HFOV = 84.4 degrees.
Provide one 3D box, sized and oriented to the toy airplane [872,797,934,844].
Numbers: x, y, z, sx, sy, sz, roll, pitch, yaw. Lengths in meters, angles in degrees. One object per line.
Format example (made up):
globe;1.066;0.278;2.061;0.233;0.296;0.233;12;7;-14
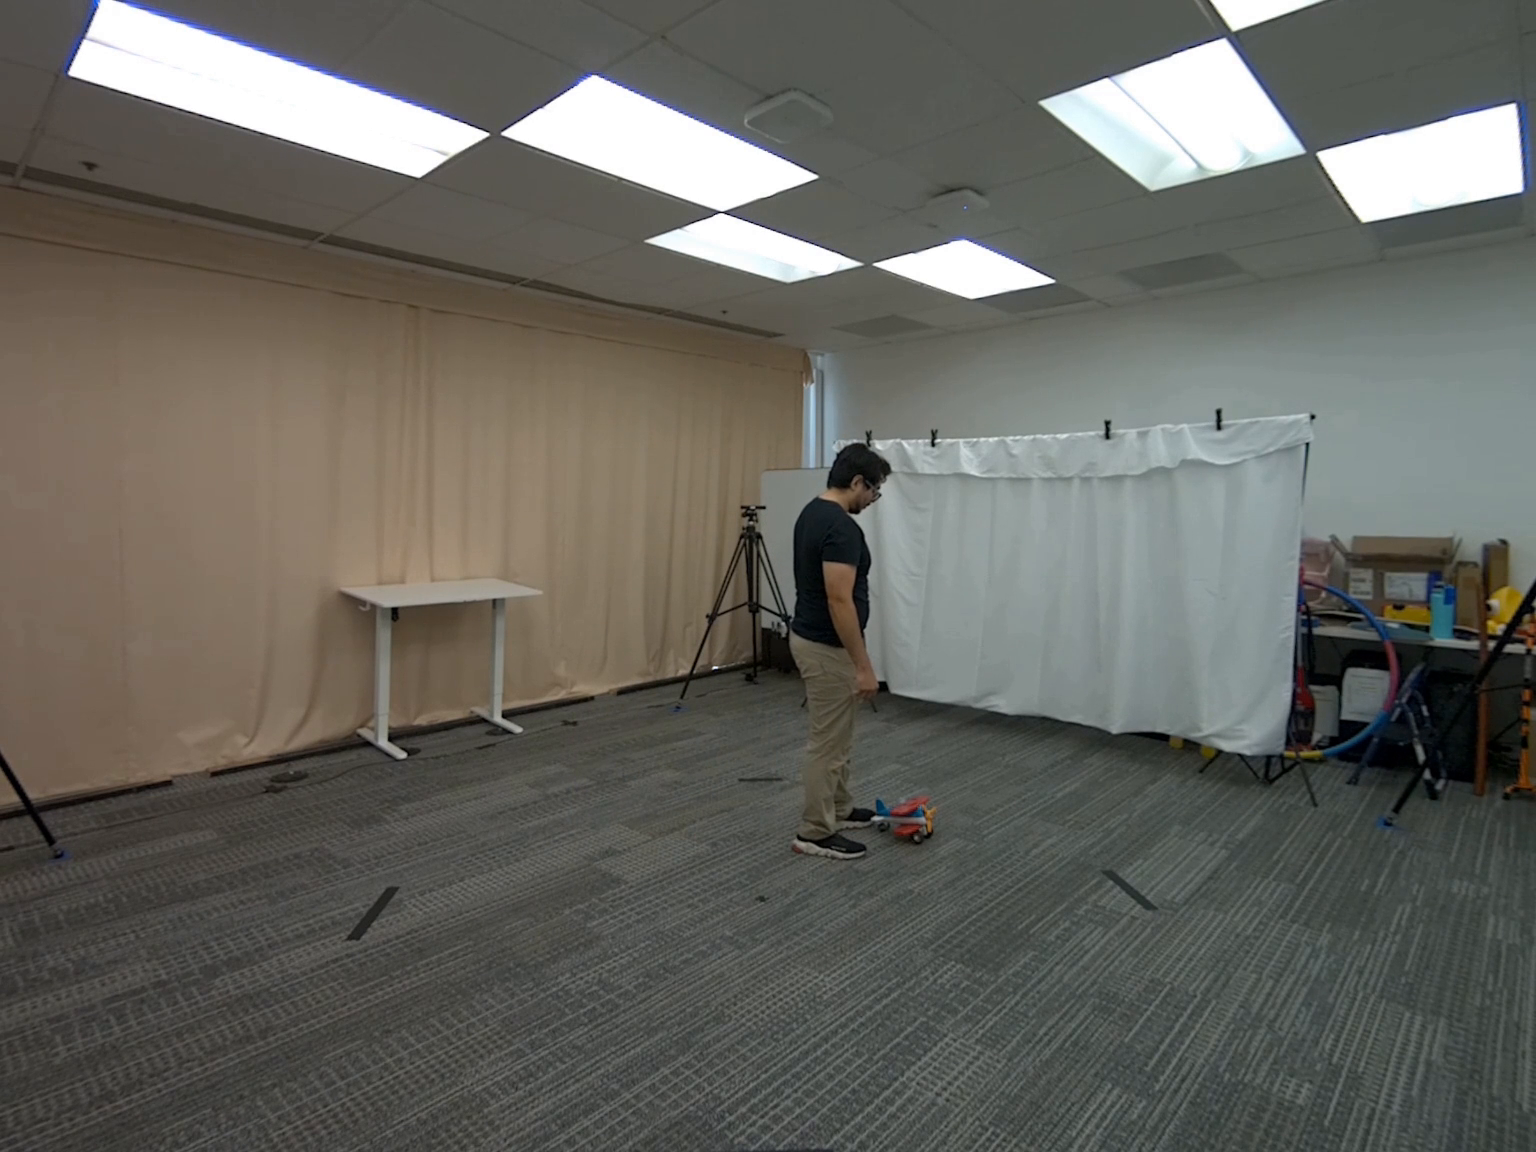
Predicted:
toy airplane;0.566;1.023;3.533;0.262;0.156;0.248;2;4;10
